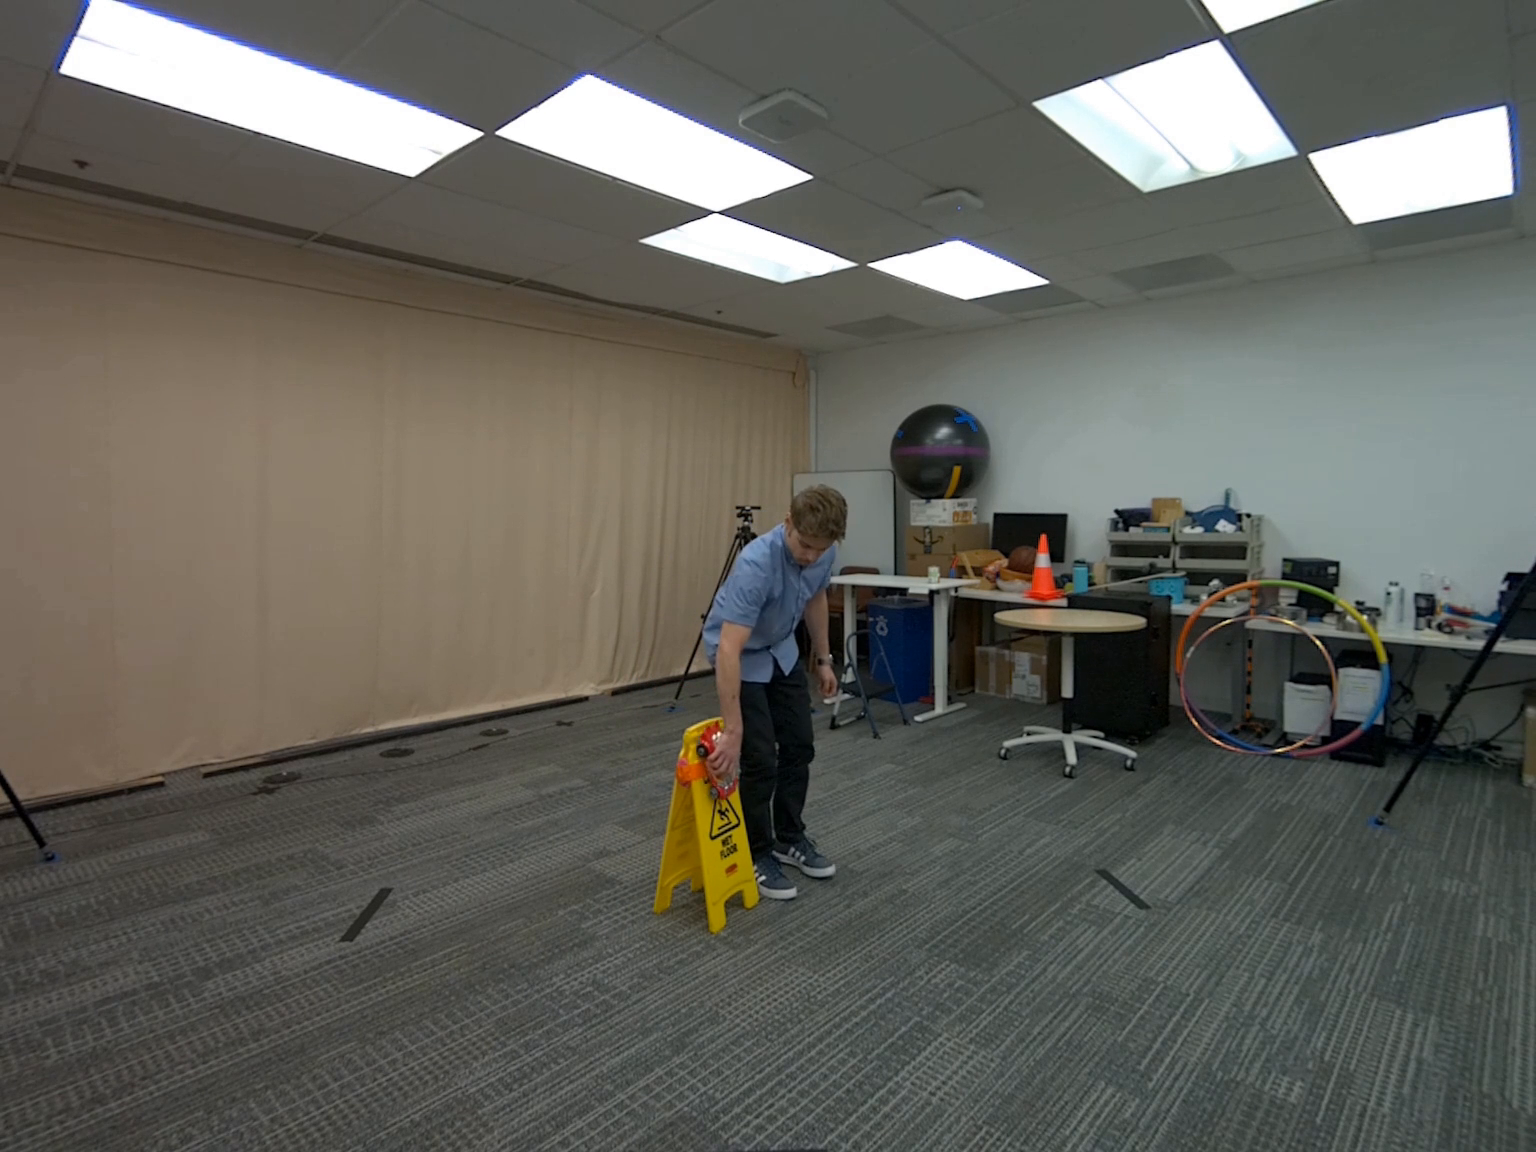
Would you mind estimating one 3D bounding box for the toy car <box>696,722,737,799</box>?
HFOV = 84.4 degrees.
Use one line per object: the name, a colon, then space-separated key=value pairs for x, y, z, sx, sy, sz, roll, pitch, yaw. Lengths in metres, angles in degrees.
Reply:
toy car: x=-0.174 y=0.626 z=2.847 sx=0.085 sy=0.253 sz=0.127 roll=2 pitch=8 yaw=27
